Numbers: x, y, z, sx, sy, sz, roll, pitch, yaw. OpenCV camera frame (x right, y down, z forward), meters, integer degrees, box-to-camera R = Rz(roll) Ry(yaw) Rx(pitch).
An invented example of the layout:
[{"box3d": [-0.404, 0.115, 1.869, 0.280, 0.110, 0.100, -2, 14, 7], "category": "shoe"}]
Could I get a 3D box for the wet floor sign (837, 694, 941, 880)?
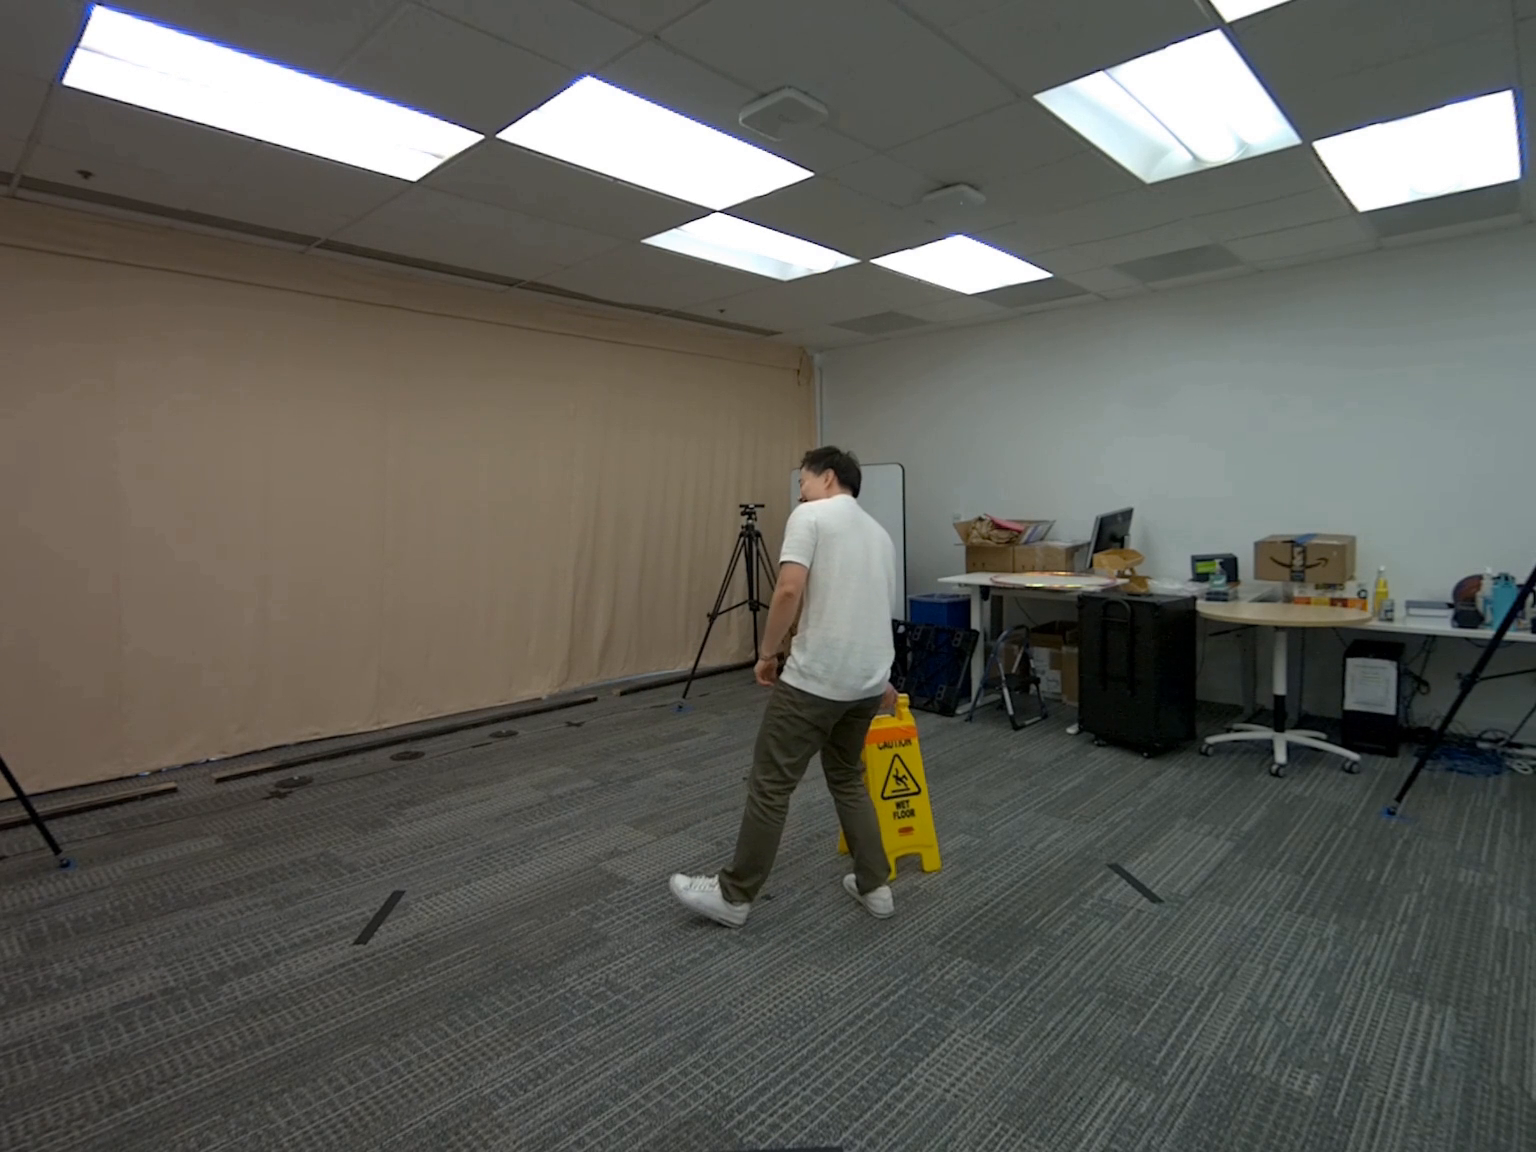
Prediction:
[{"box3d": [0.460, 0.782, 3.262, 0.276, 0.645, 0.297, -2, 3, -25], "category": "wet floor sign"}]
